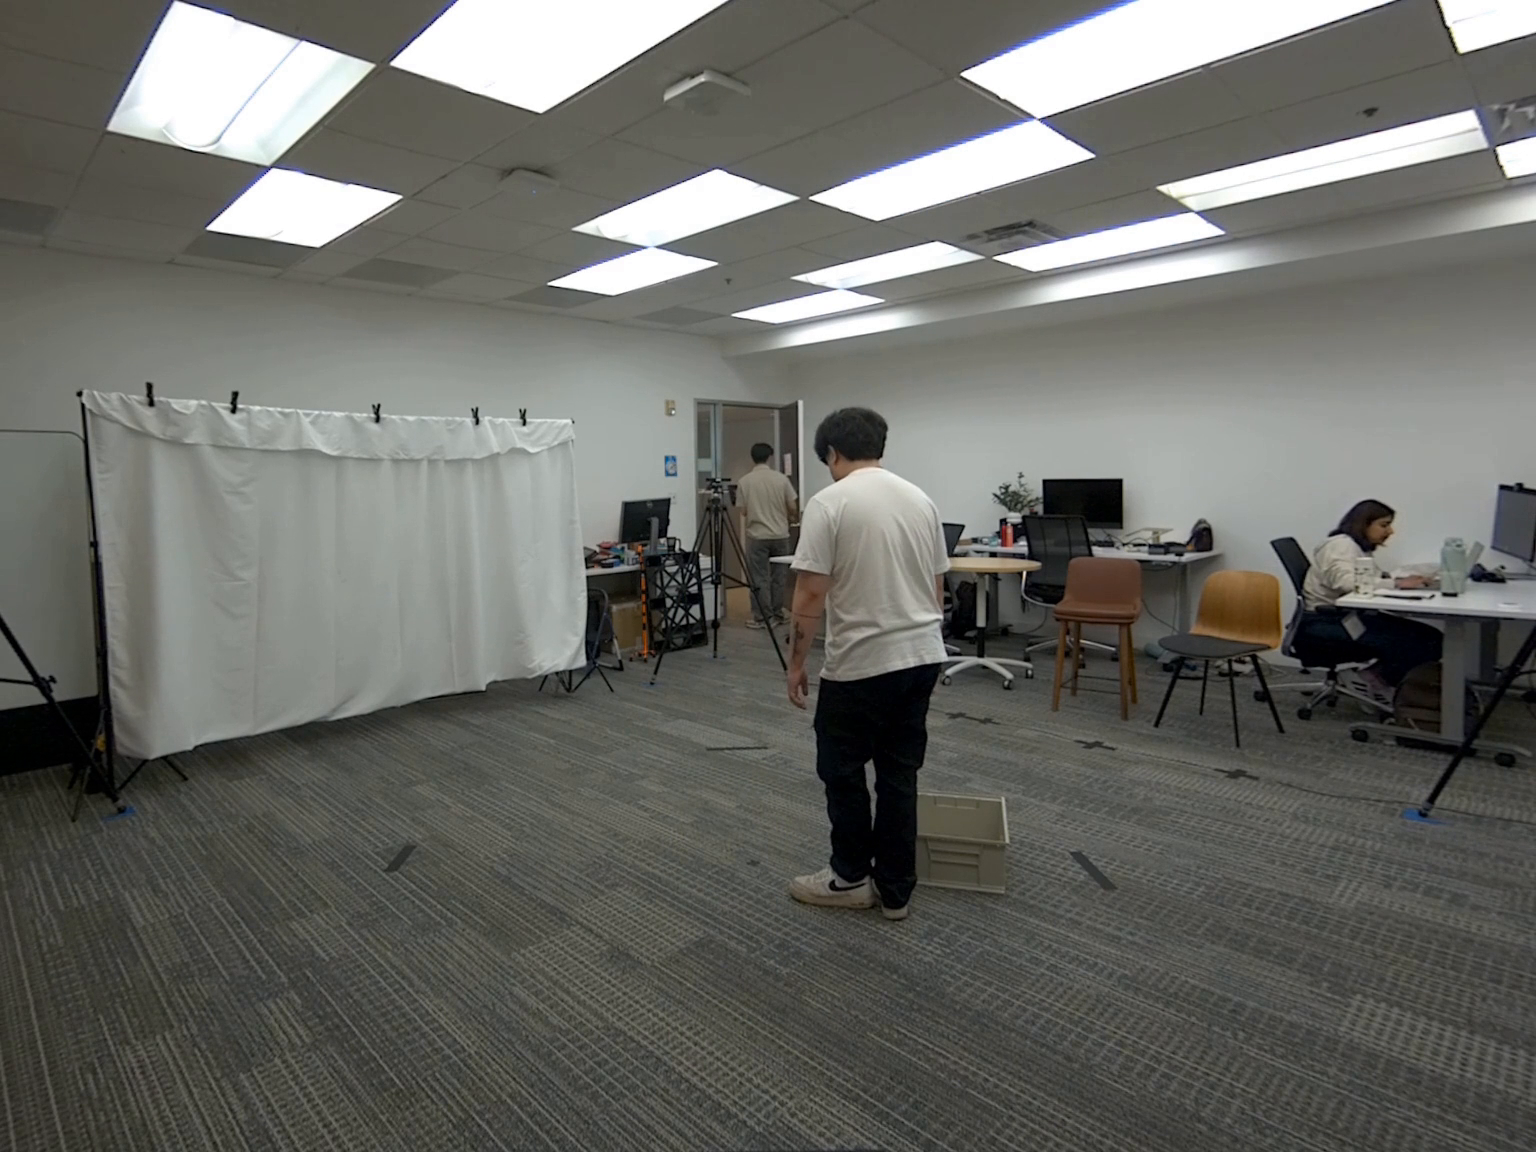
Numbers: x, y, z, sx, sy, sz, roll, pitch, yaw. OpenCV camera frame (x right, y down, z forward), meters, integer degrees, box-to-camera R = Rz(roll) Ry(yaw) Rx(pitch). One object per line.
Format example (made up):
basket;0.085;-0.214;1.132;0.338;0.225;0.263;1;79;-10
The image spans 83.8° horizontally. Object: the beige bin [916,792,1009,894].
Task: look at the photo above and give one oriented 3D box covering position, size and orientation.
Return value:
beige bin;0.667;0.946;3.078;0.383;0.188;0.418;1;6;14
